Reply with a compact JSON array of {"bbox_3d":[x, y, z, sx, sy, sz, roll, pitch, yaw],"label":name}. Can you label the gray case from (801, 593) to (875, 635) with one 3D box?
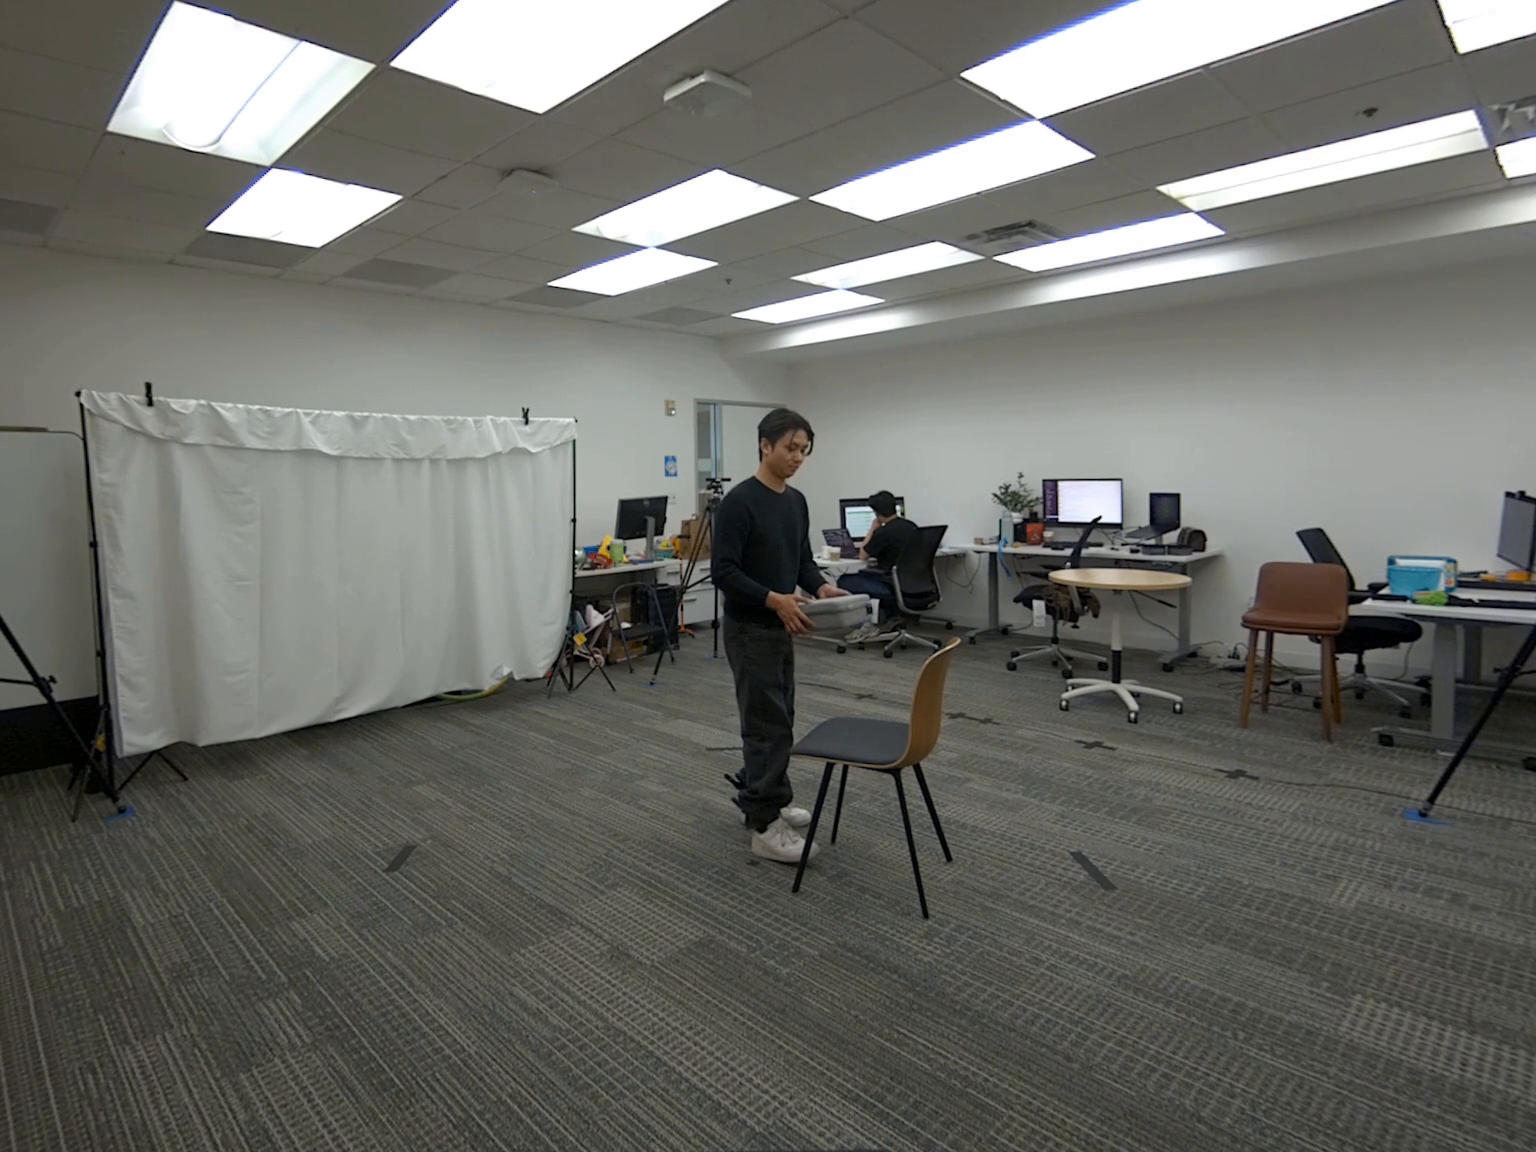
[{"bbox_3d":[0.222,0.137,3.119,0.266,0.104,0.250,-8,-1,34],"label":"gray case"}]
